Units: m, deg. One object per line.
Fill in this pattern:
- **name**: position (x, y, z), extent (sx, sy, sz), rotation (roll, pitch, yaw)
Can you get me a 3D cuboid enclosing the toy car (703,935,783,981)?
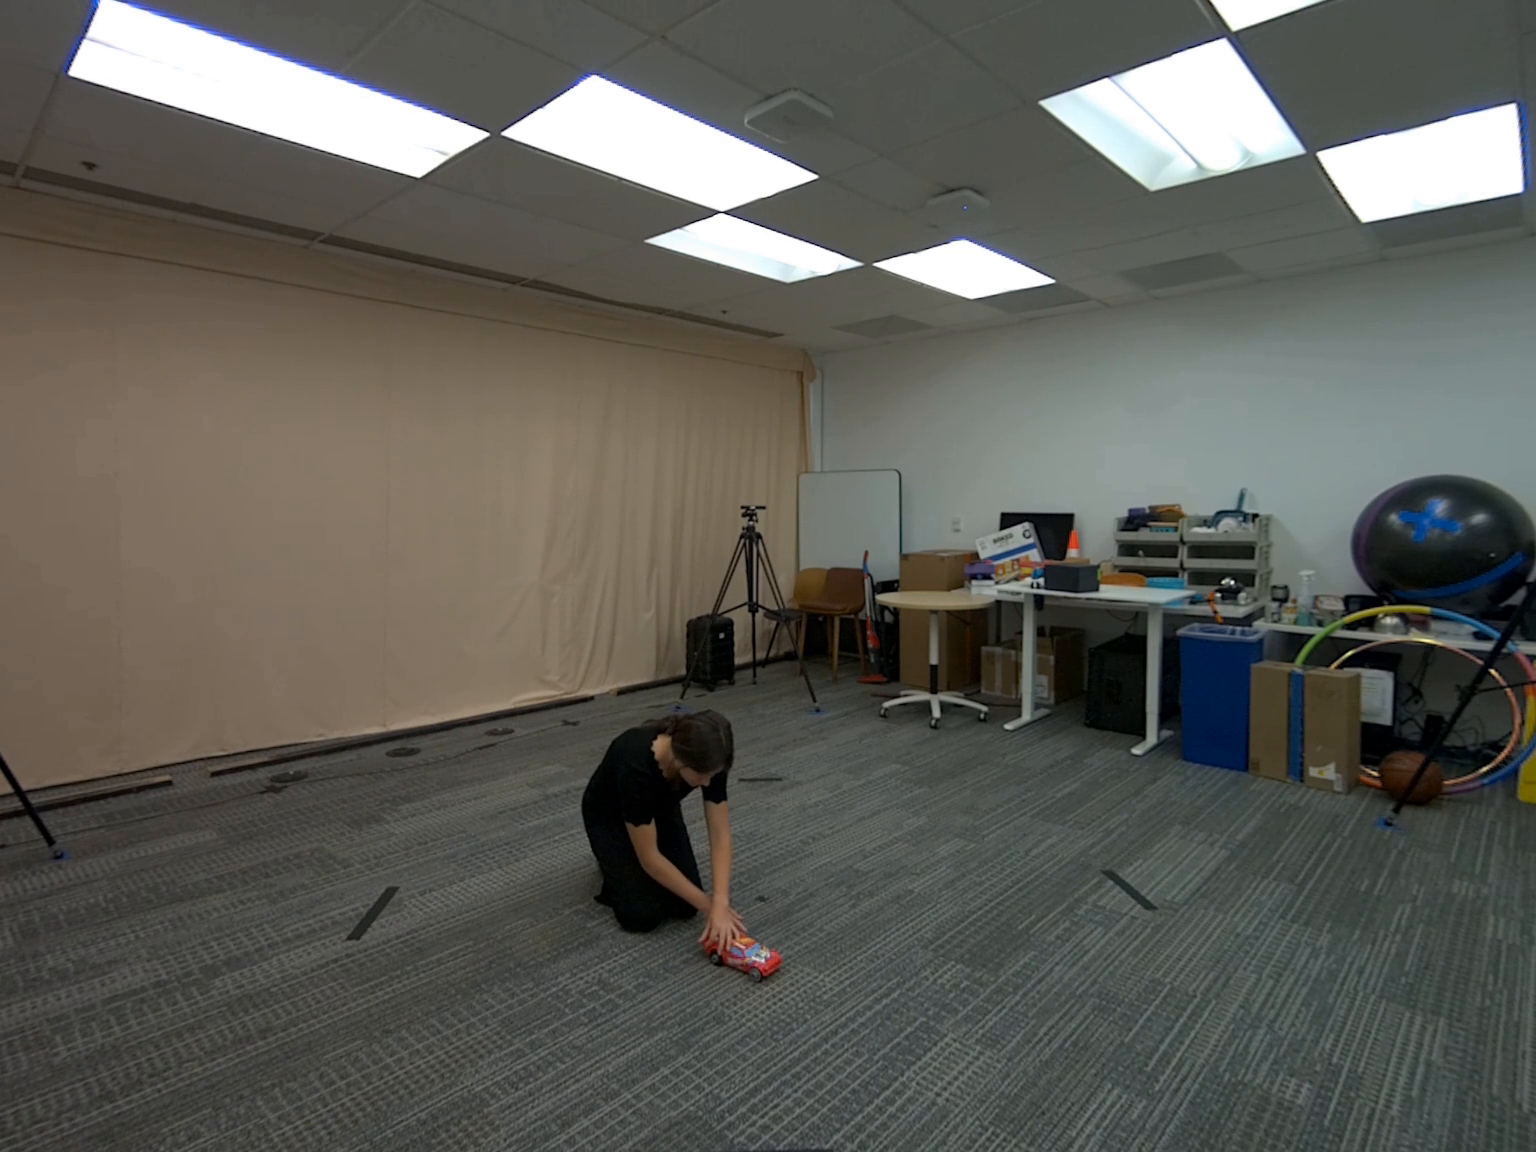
- **toy car**: position (-0.082, 1.149, 2.554), extent (0.263, 0.083, 0.126), rotation (14, 12, 34)
